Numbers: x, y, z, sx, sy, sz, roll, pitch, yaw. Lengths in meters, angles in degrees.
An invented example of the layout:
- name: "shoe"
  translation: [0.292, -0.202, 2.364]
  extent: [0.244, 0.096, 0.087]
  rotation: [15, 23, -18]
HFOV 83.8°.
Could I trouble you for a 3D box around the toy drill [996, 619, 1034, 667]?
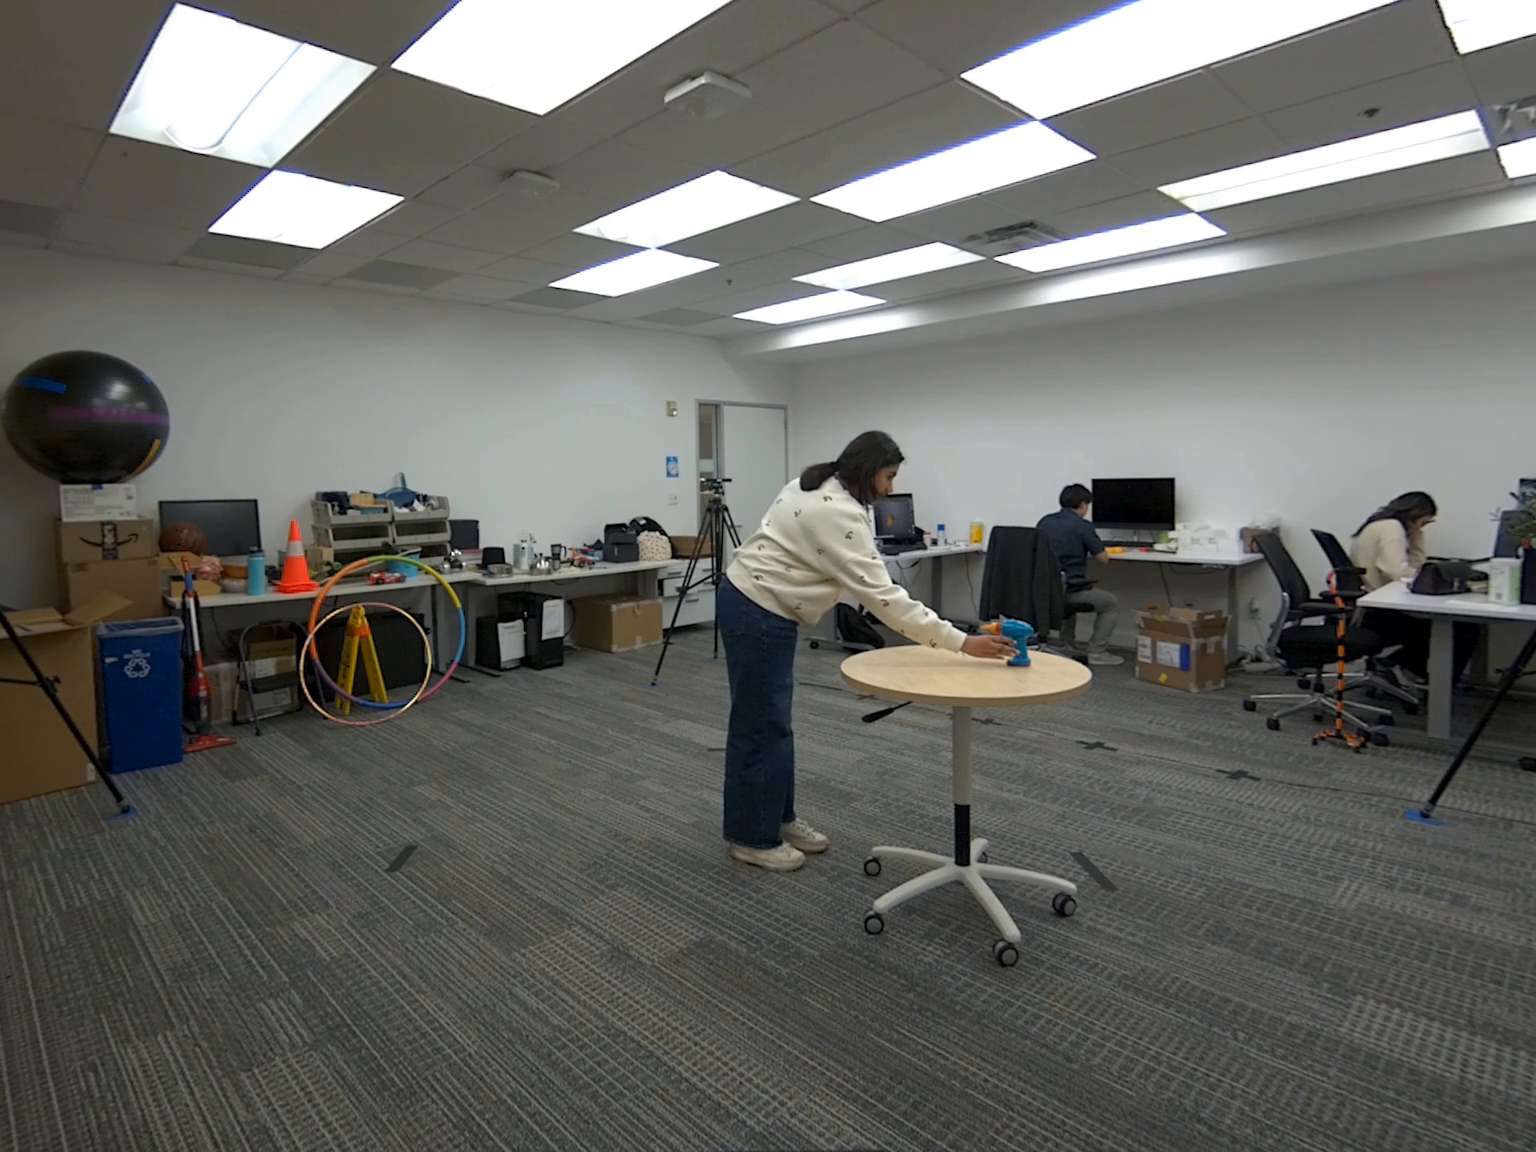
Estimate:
- name: "toy drill"
  translation: [0.773, 0.211, 2.754]
  extent: [0.174, 0.145, 0.060]
  rotation: [4, 6, 28]
